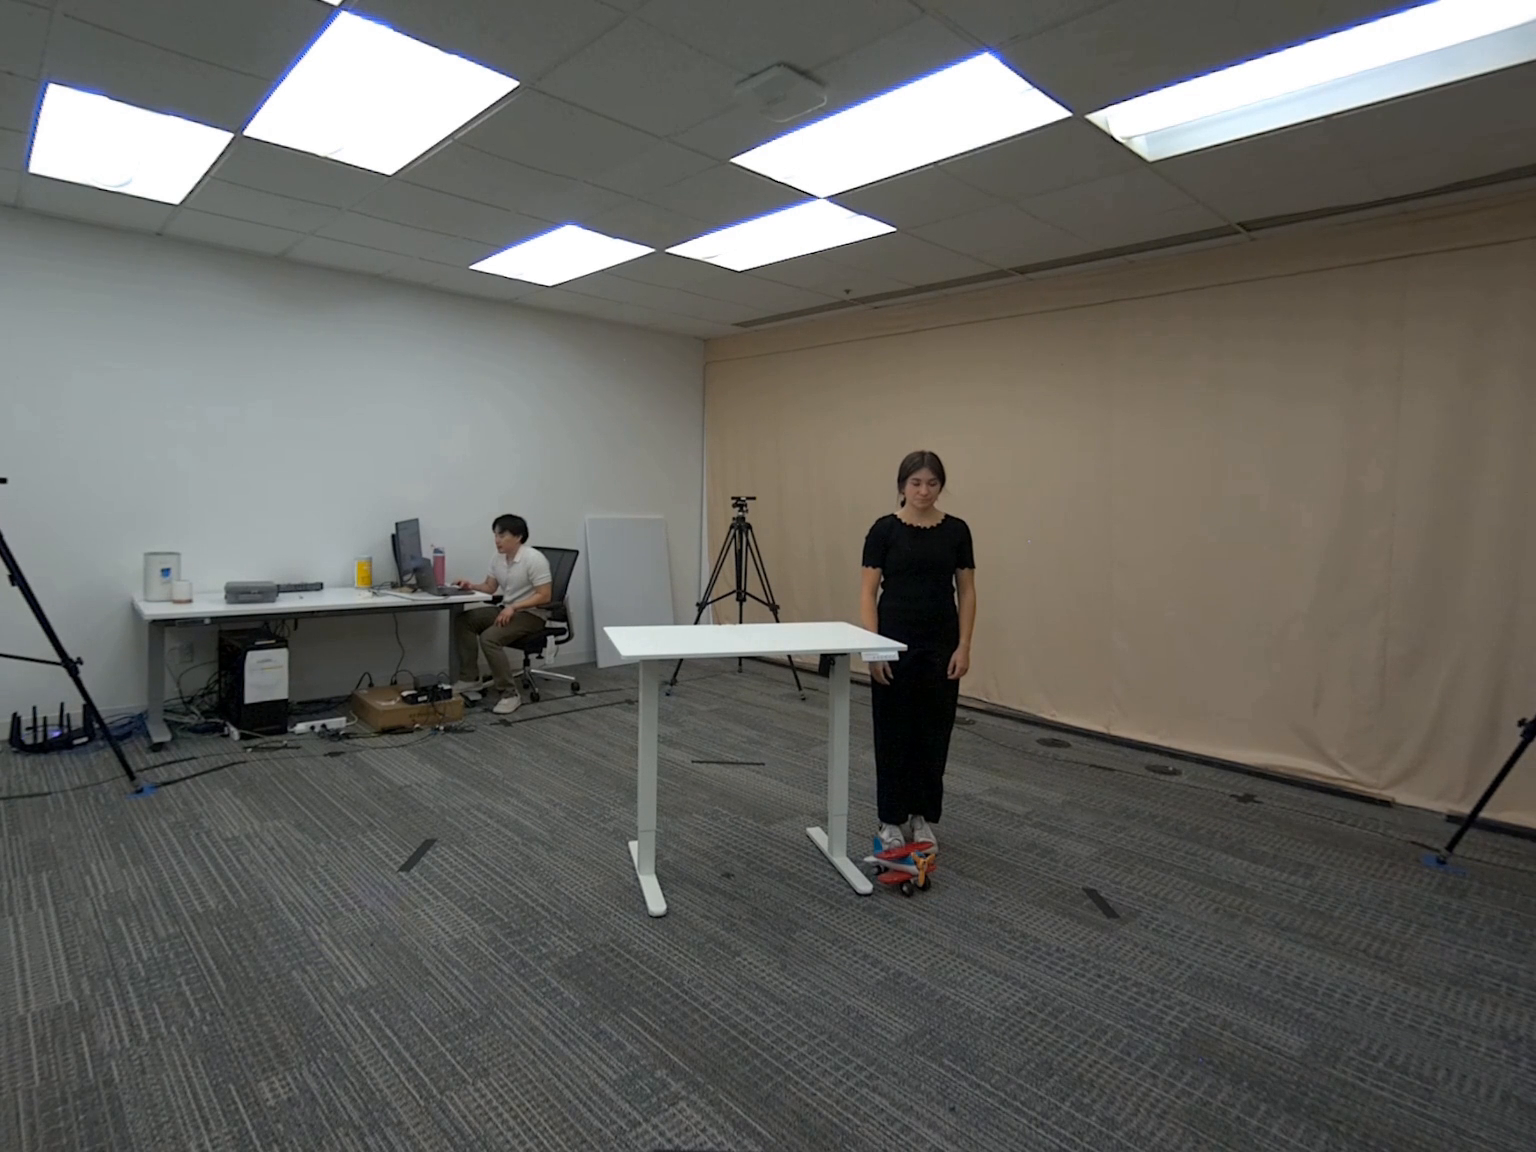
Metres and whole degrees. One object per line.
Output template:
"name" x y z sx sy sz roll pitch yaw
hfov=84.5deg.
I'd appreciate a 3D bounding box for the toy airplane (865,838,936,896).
"toy airplane" 0.448 1.049 3.060 0.265 0.156 0.247 6 6 27
